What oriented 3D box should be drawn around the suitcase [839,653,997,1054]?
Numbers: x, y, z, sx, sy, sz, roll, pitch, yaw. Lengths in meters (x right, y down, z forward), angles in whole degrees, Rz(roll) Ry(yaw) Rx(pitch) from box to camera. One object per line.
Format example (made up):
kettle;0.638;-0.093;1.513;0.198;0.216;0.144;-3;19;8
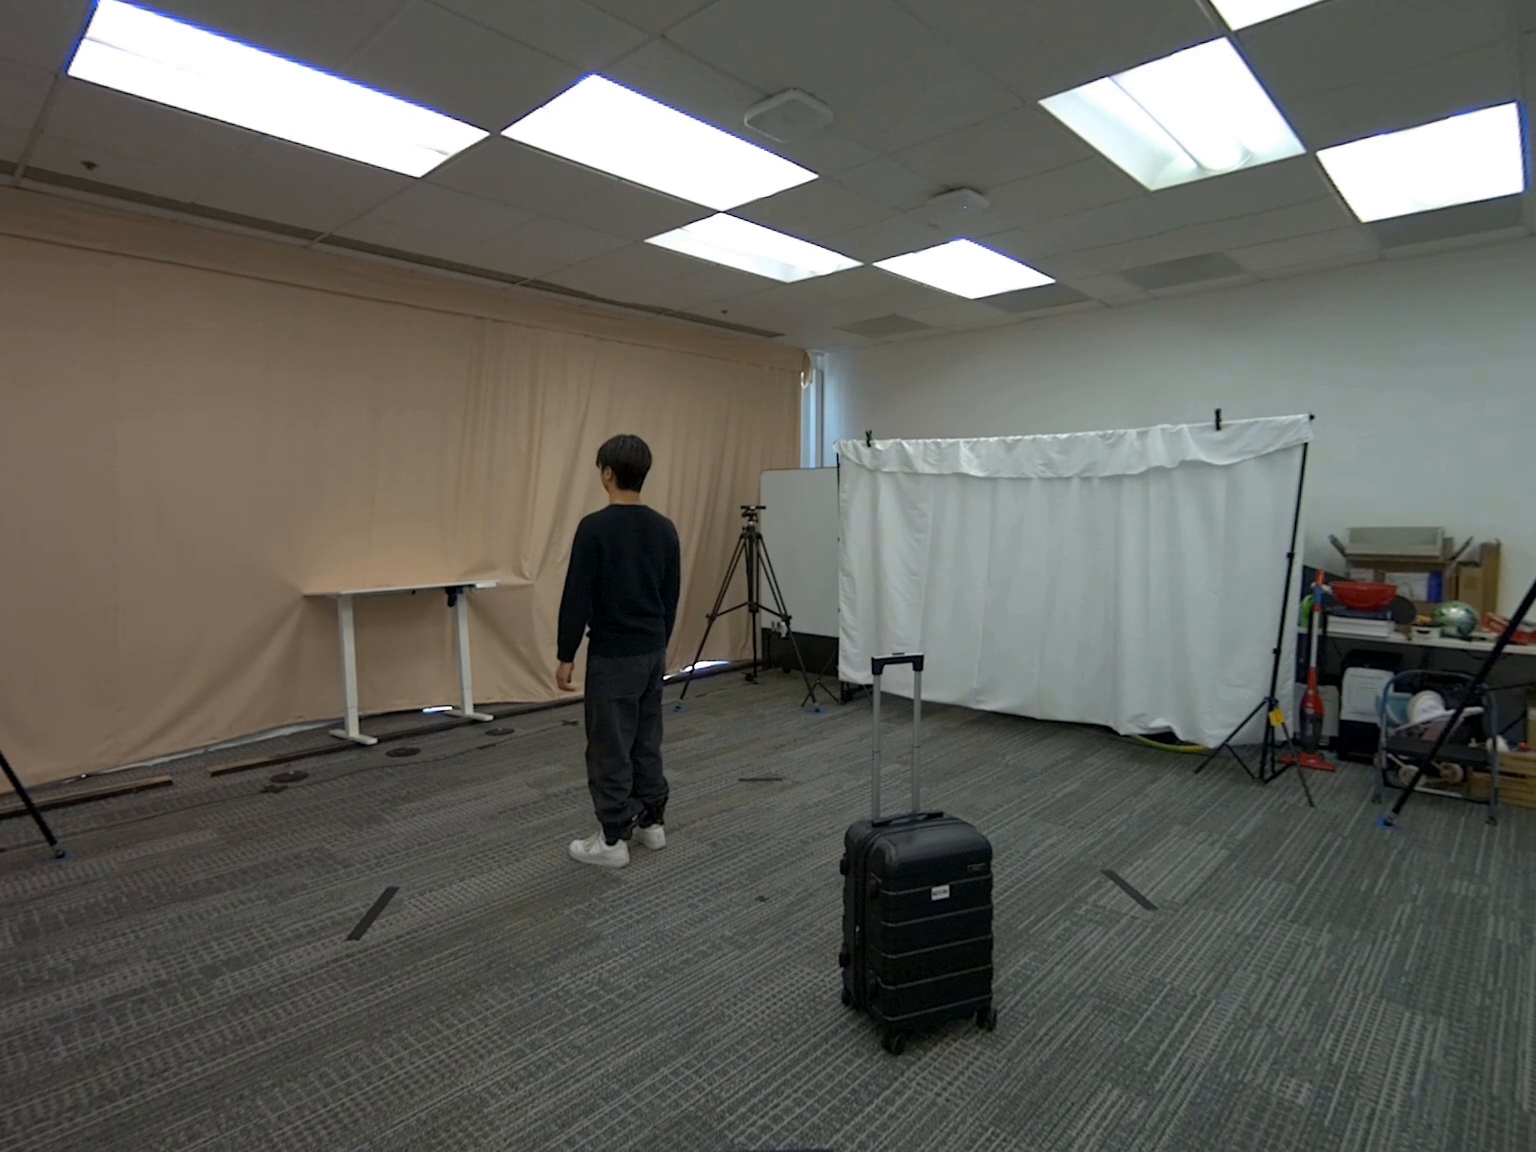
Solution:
suitcase;0.411;0.729;2.250;0.377;0.975;0.263;-2;6;-18
